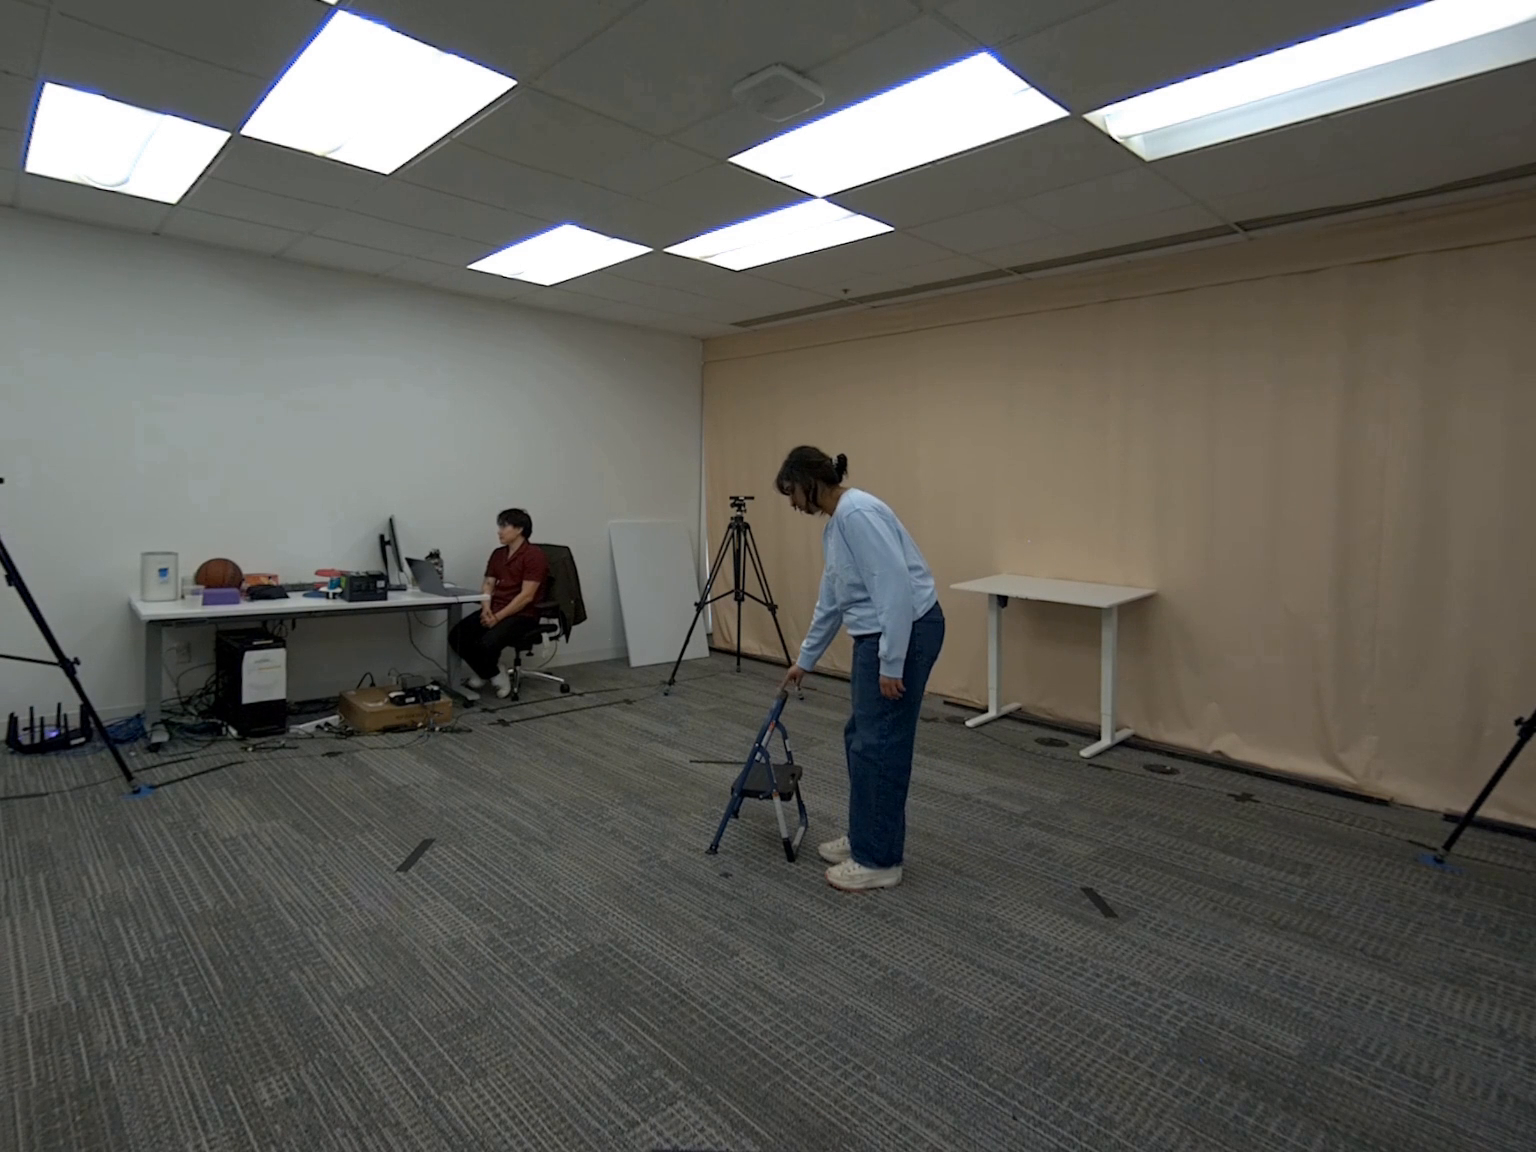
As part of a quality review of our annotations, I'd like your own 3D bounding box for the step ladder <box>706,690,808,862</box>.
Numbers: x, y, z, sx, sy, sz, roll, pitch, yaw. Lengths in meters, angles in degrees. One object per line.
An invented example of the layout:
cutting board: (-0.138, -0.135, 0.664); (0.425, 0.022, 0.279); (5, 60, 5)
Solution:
step ladder: (-0.030, 0.773, 3.444); (0.353, 0.605, 0.427); (2, 3, 11)
